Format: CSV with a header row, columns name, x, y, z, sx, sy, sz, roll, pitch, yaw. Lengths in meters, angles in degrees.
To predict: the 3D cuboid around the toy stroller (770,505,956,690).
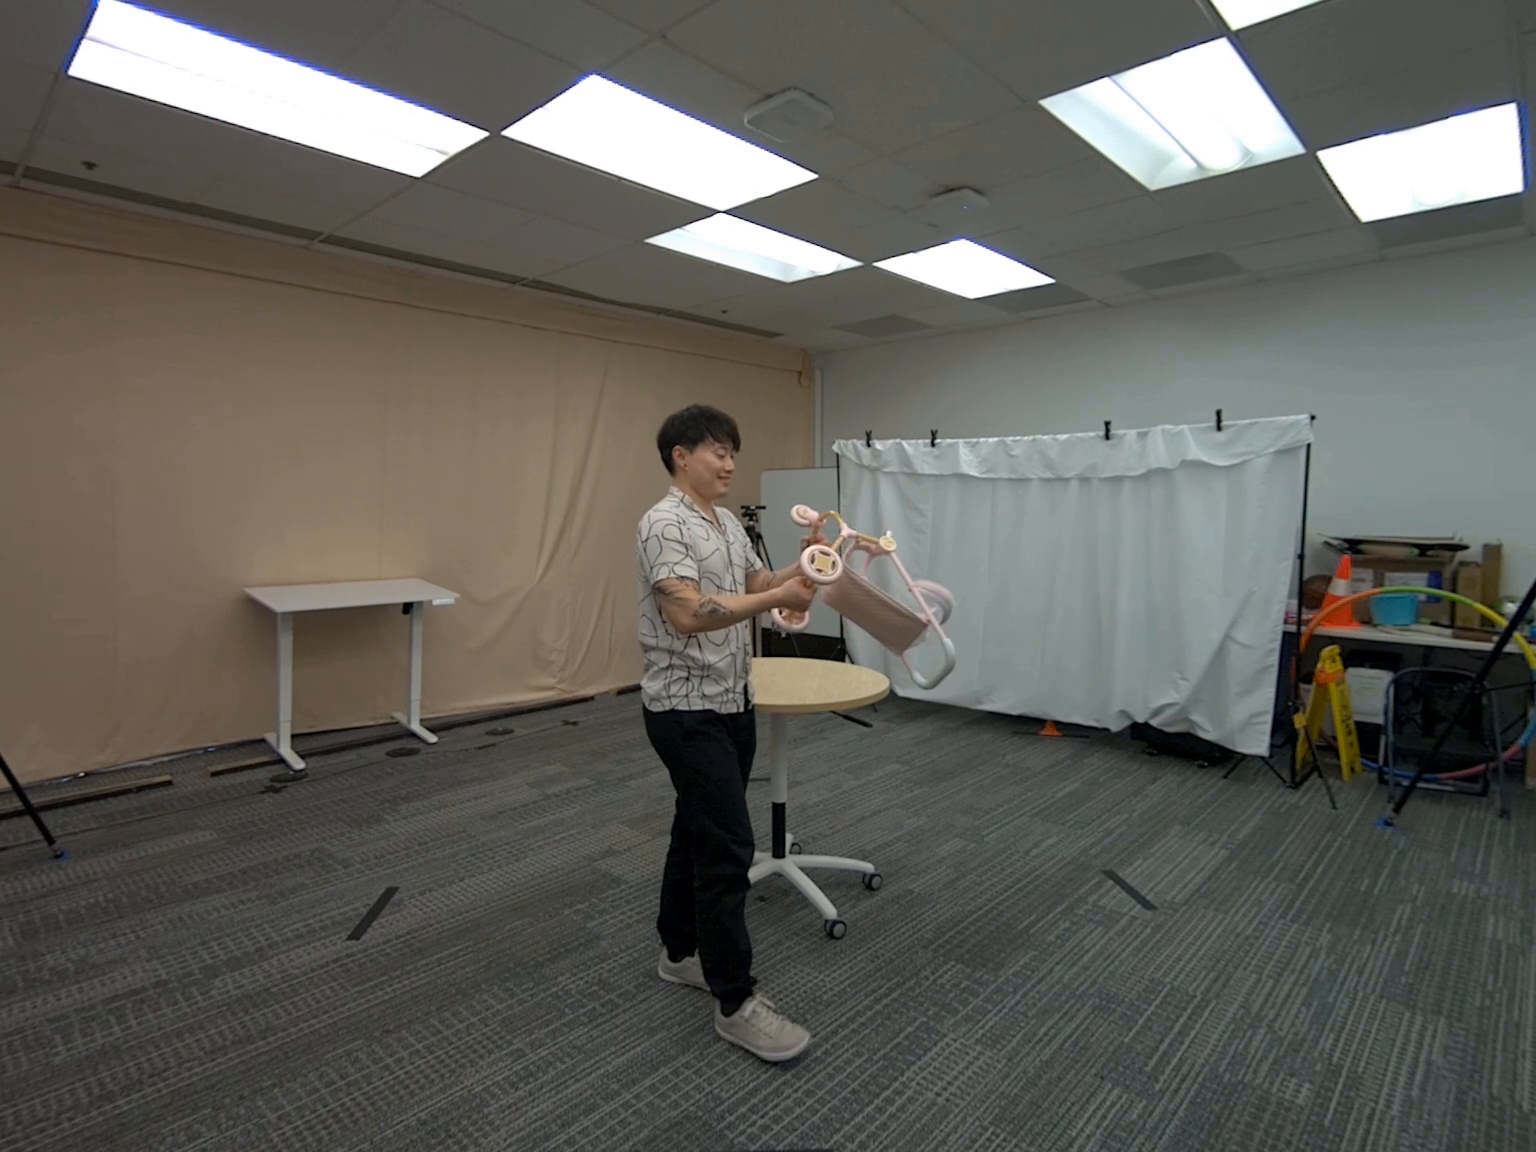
name,x,y,z,sx,sy,sz,roll,pitch,yaw
toy stroller,0.275,0.035,2.232,0.536,0.280,0.342,26,48,1
